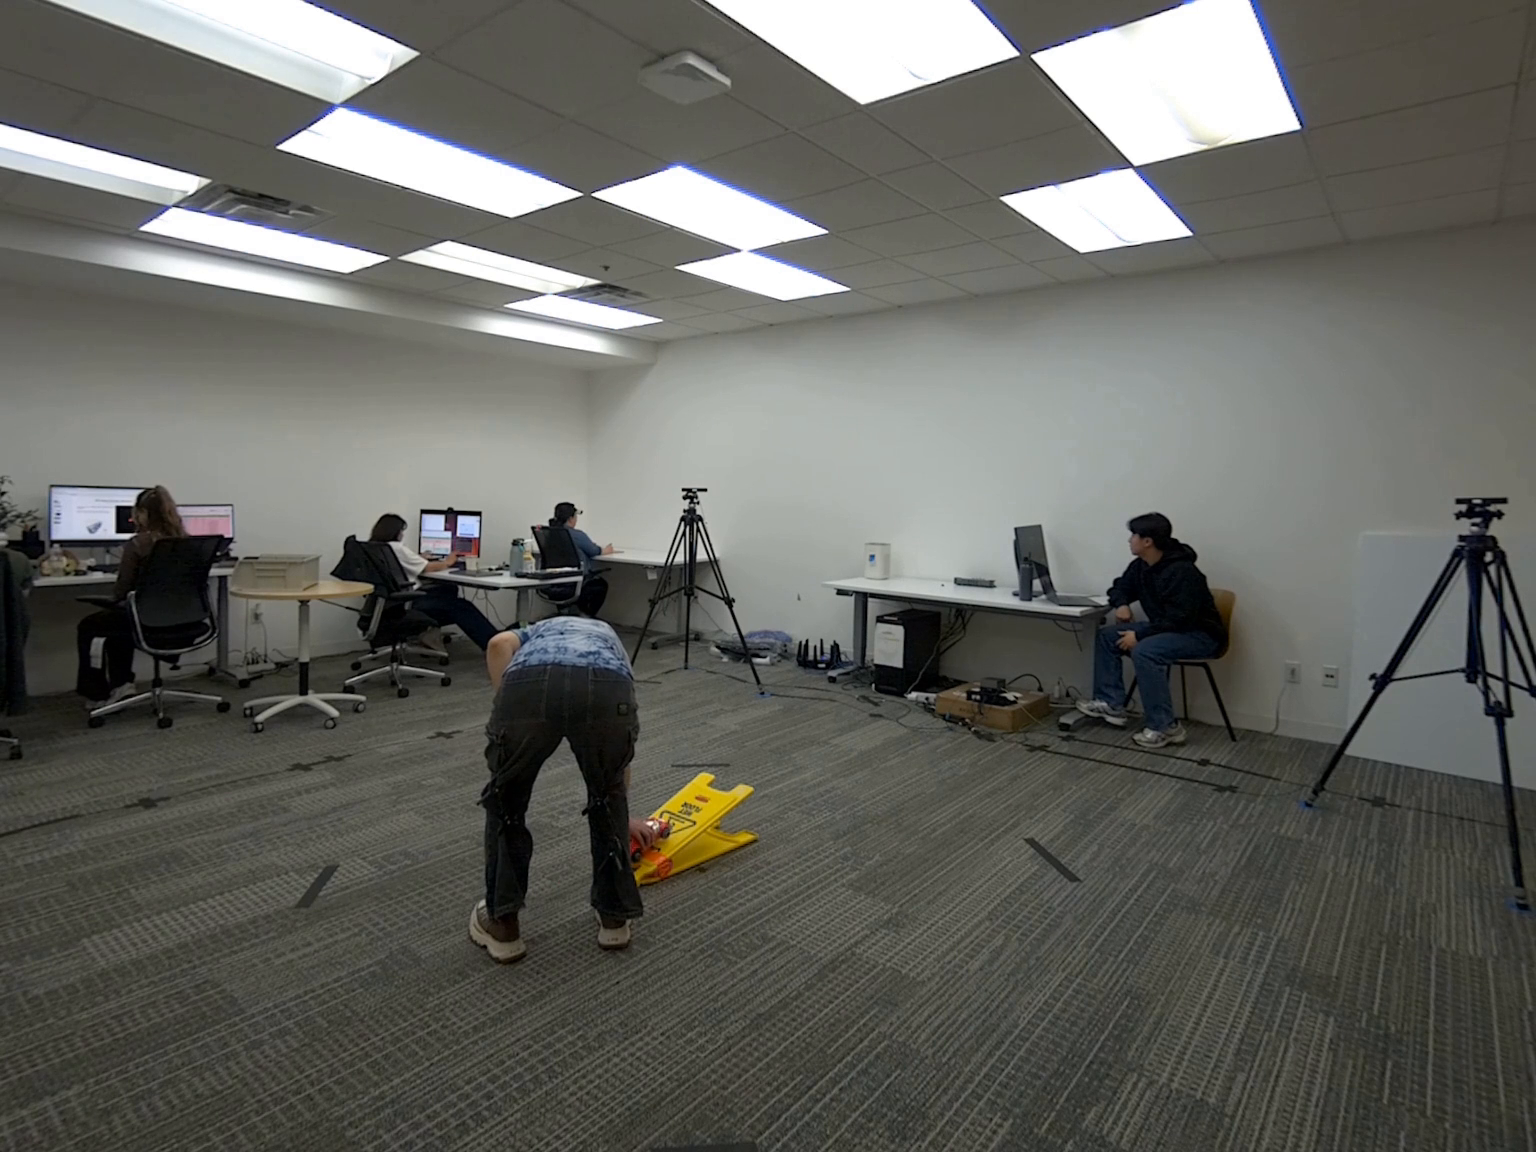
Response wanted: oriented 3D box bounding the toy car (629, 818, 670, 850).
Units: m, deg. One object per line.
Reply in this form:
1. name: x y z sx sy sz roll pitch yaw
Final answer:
1. toy car: -0.489 0.955 3.056 0.134 0.082 0.248 3 11 43
